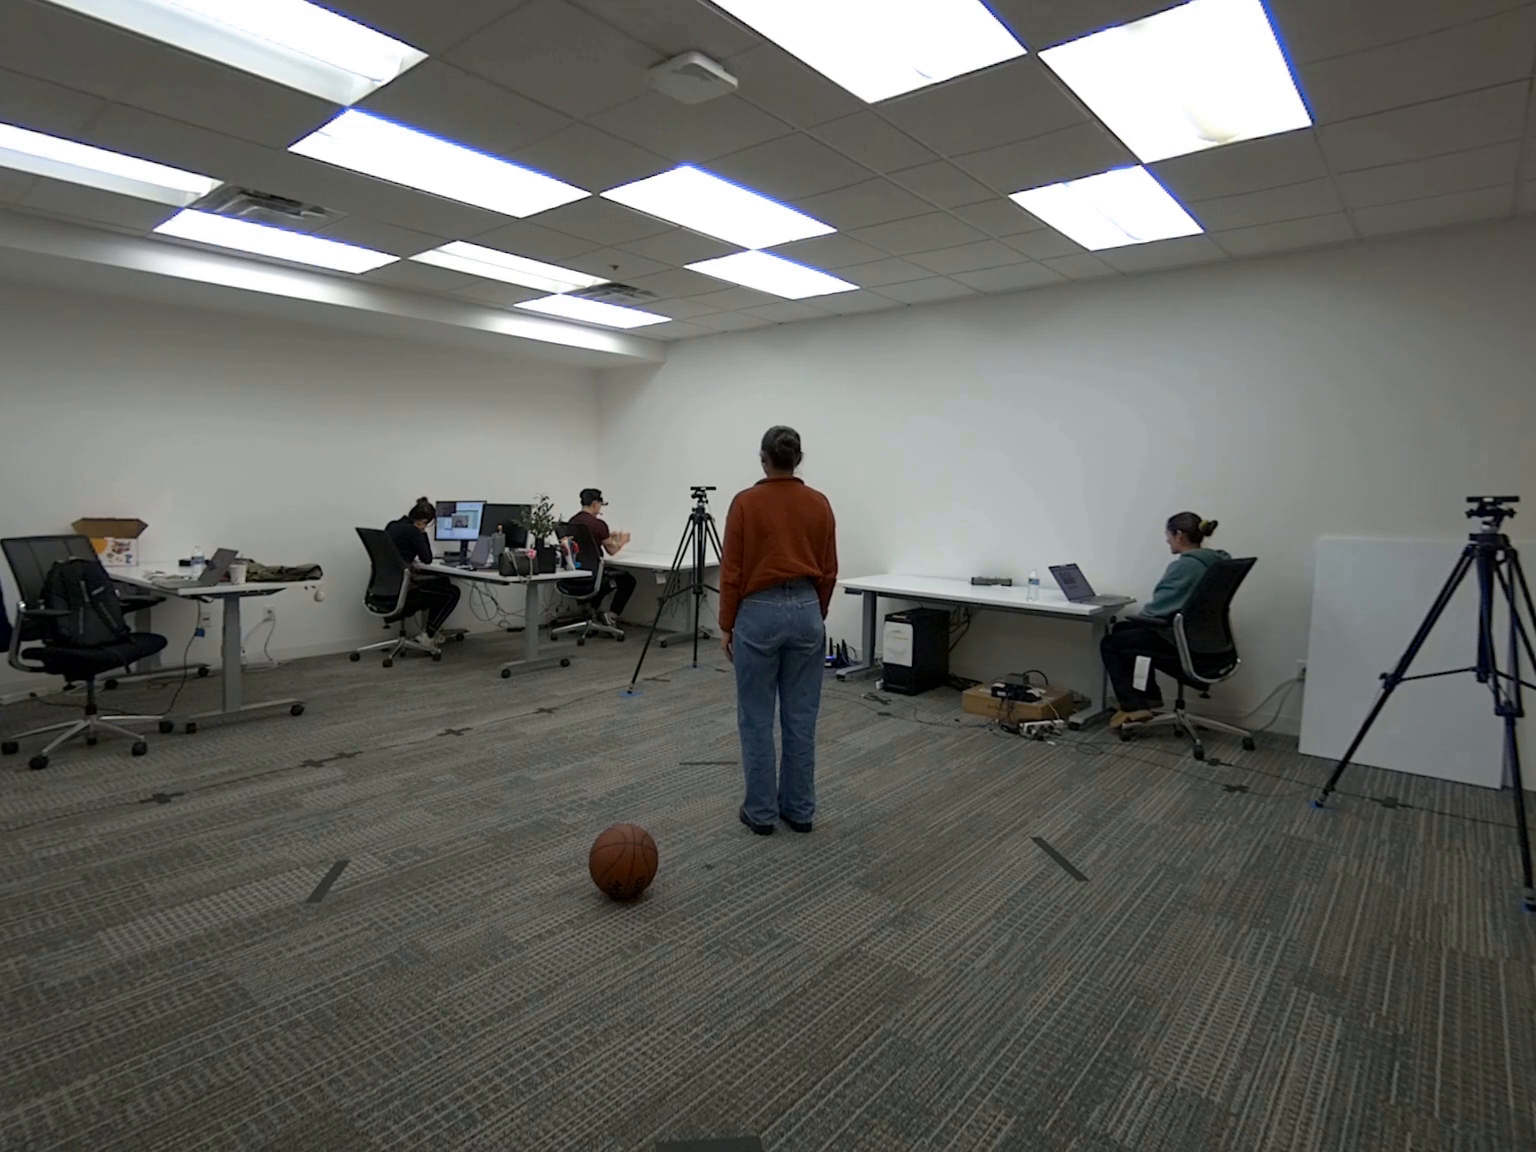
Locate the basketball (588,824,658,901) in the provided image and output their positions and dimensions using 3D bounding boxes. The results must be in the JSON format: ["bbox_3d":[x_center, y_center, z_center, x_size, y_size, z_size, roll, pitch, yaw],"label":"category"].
[{"bbox_3d":[-0.501,0.956,2.887,0.235,0.235,0.237,1,4,-2],"label":"basketball"}]
